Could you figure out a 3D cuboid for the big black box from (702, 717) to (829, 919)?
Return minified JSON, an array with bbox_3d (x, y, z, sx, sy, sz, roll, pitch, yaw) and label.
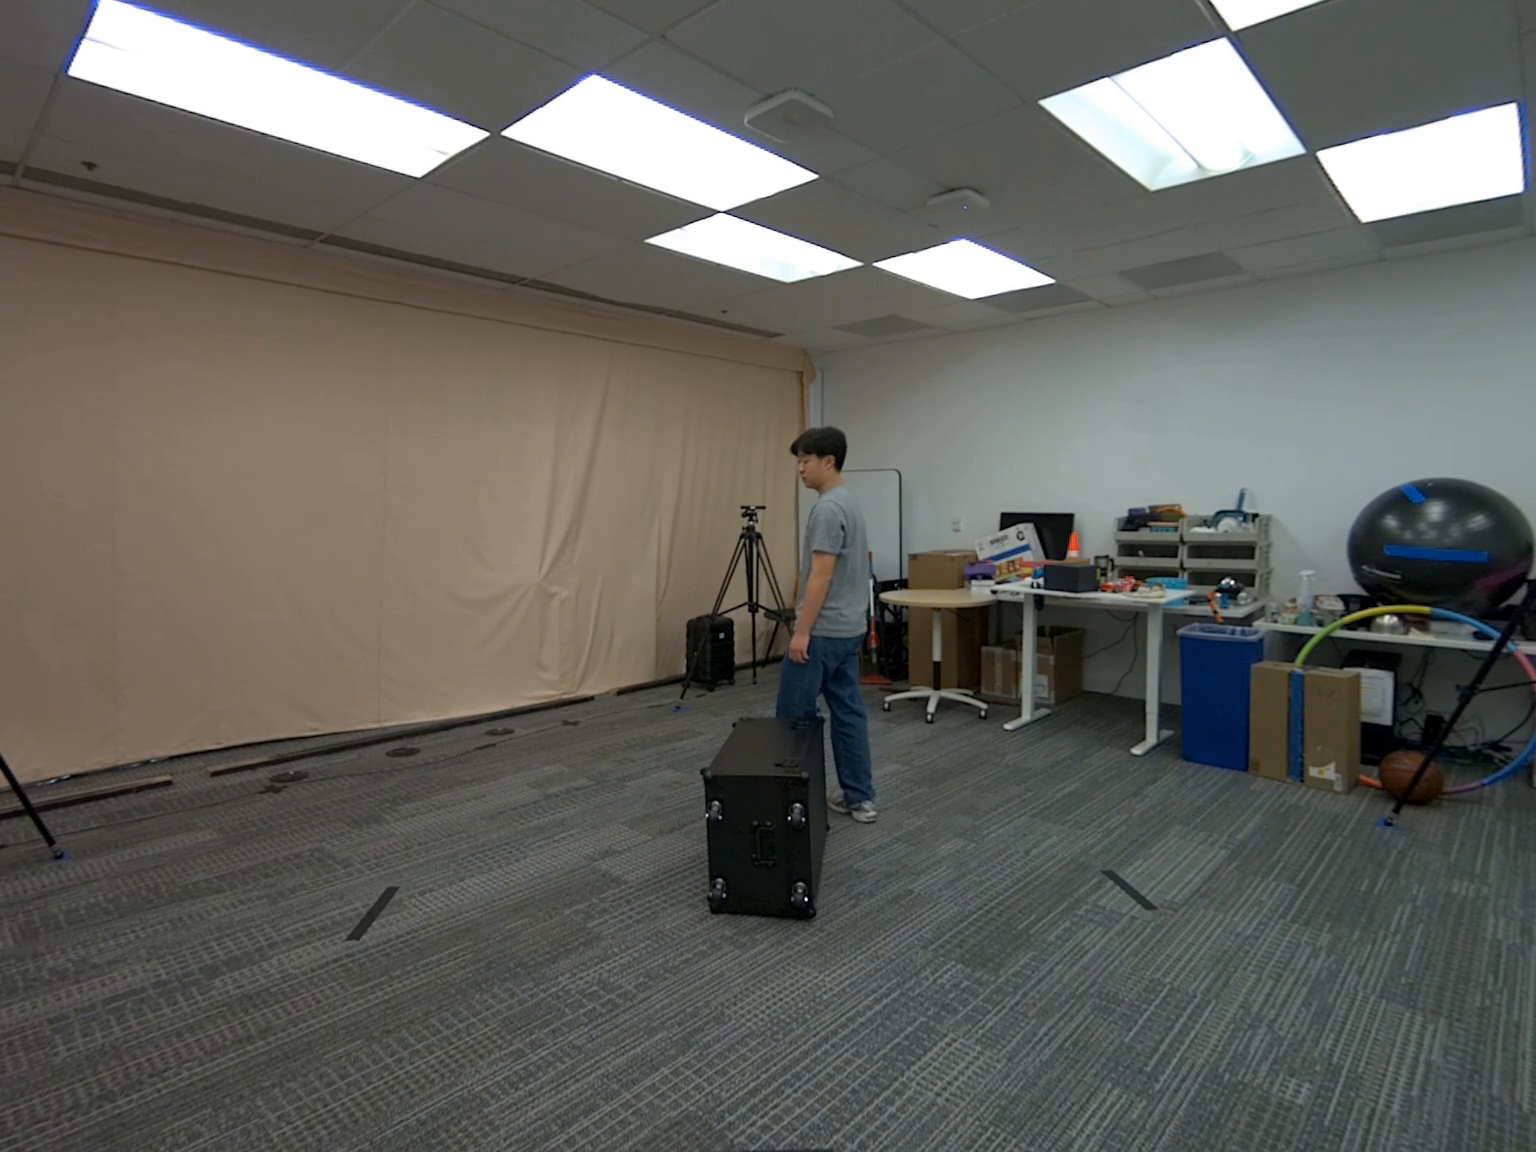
[{"bbox_3d":[0.012,0.870,3.239,0.401,0.520,0.854,-1,4,9],"label":"big black box"}]
